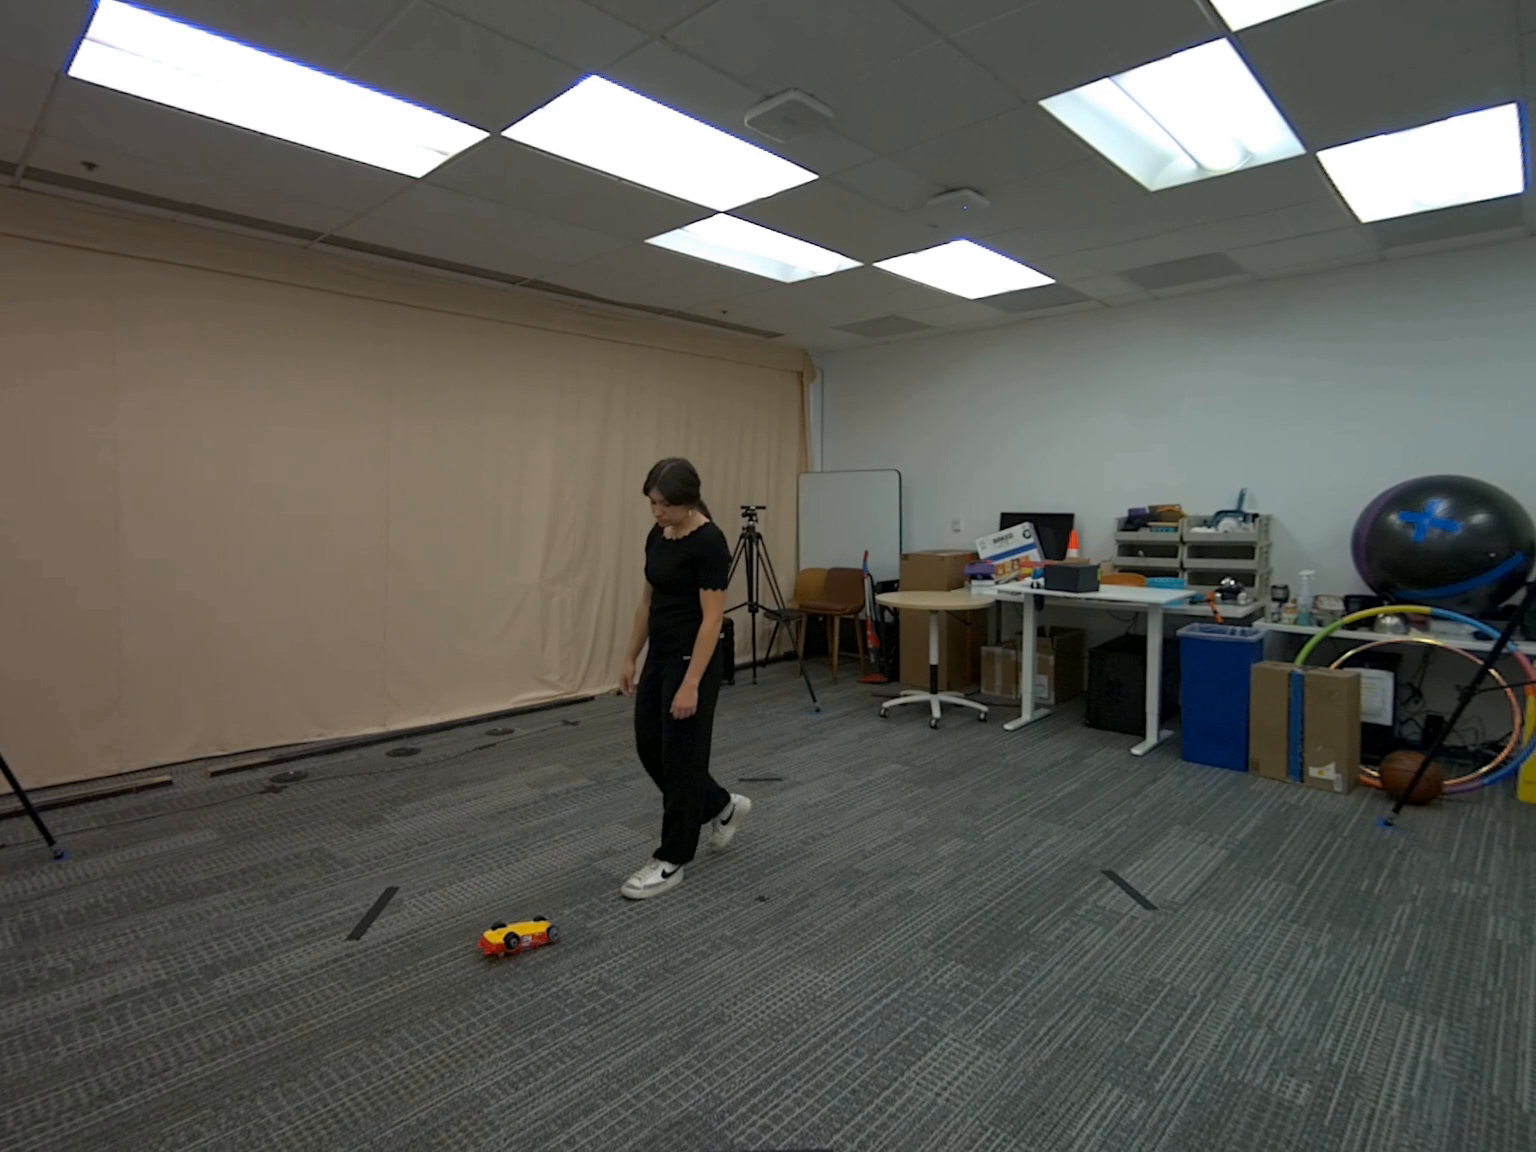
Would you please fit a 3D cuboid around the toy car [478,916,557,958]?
[{"bbox_3d":[-0.788,1.139,2.652,0.247,0.083,0.135,-5,6,-42],"label":"toy car"}]
